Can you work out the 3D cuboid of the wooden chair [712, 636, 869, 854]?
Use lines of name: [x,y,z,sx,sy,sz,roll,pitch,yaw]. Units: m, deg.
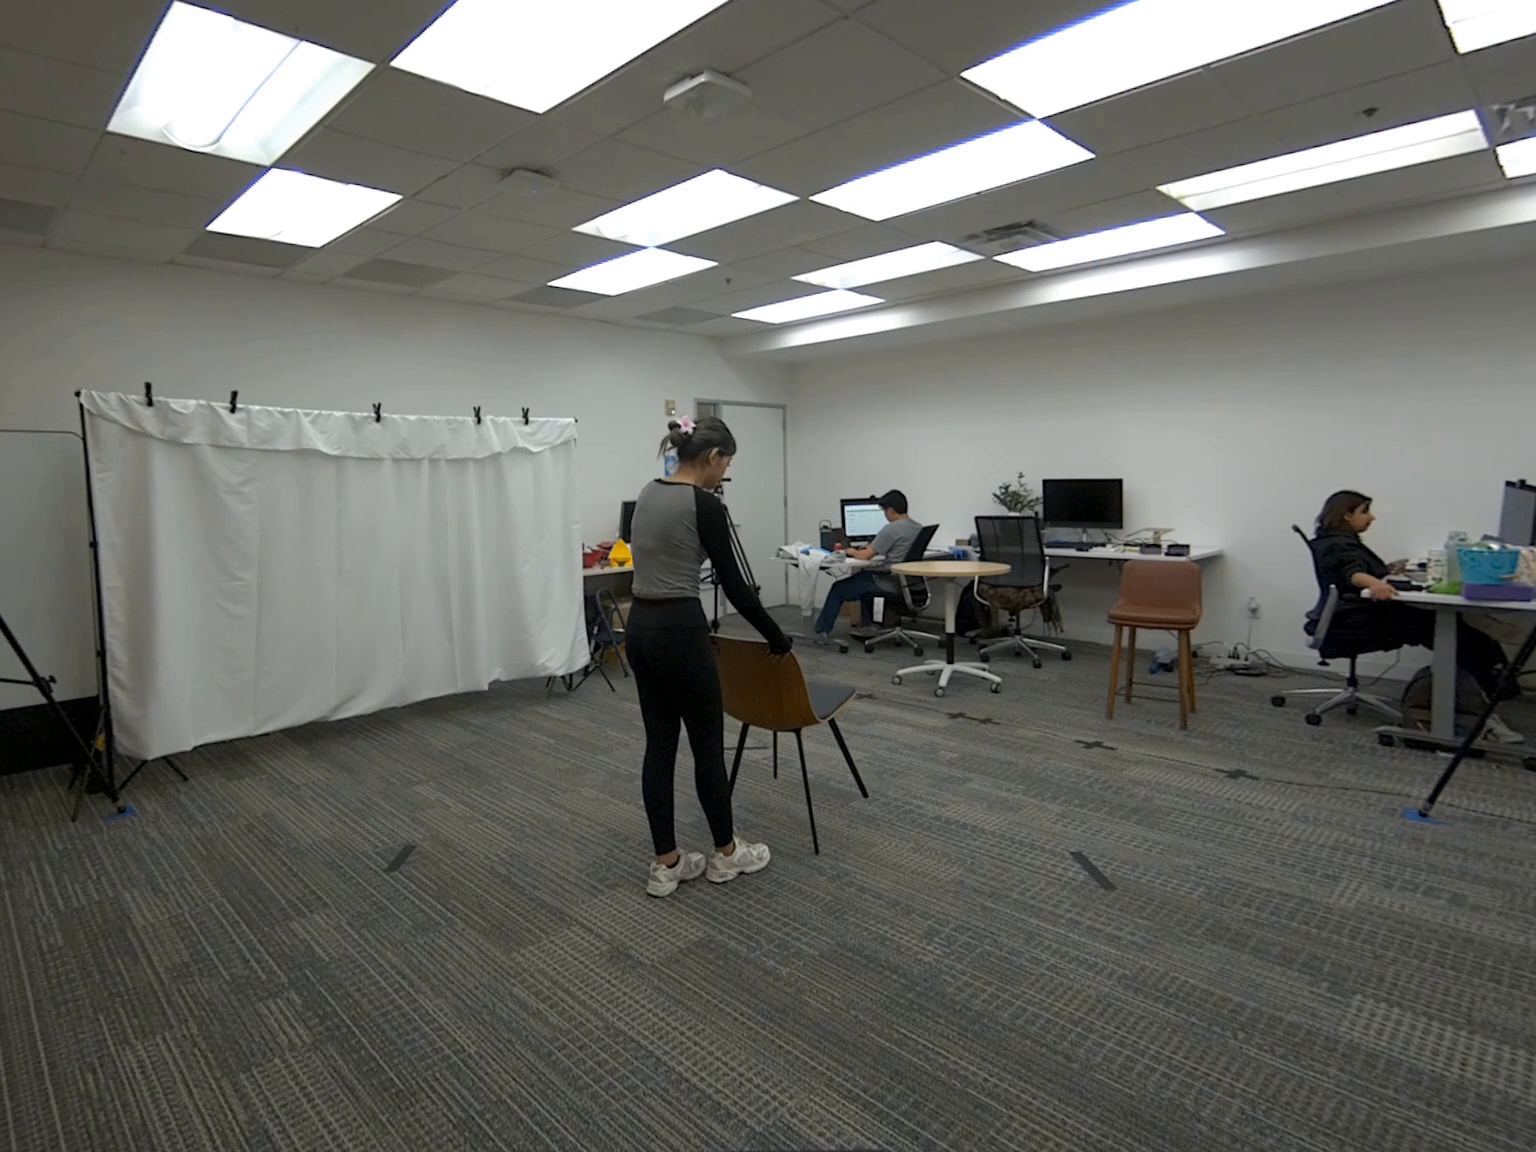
wooden chair: [0.067,0.550,3.395,0.491,0.863,0.517,2,19,33]
